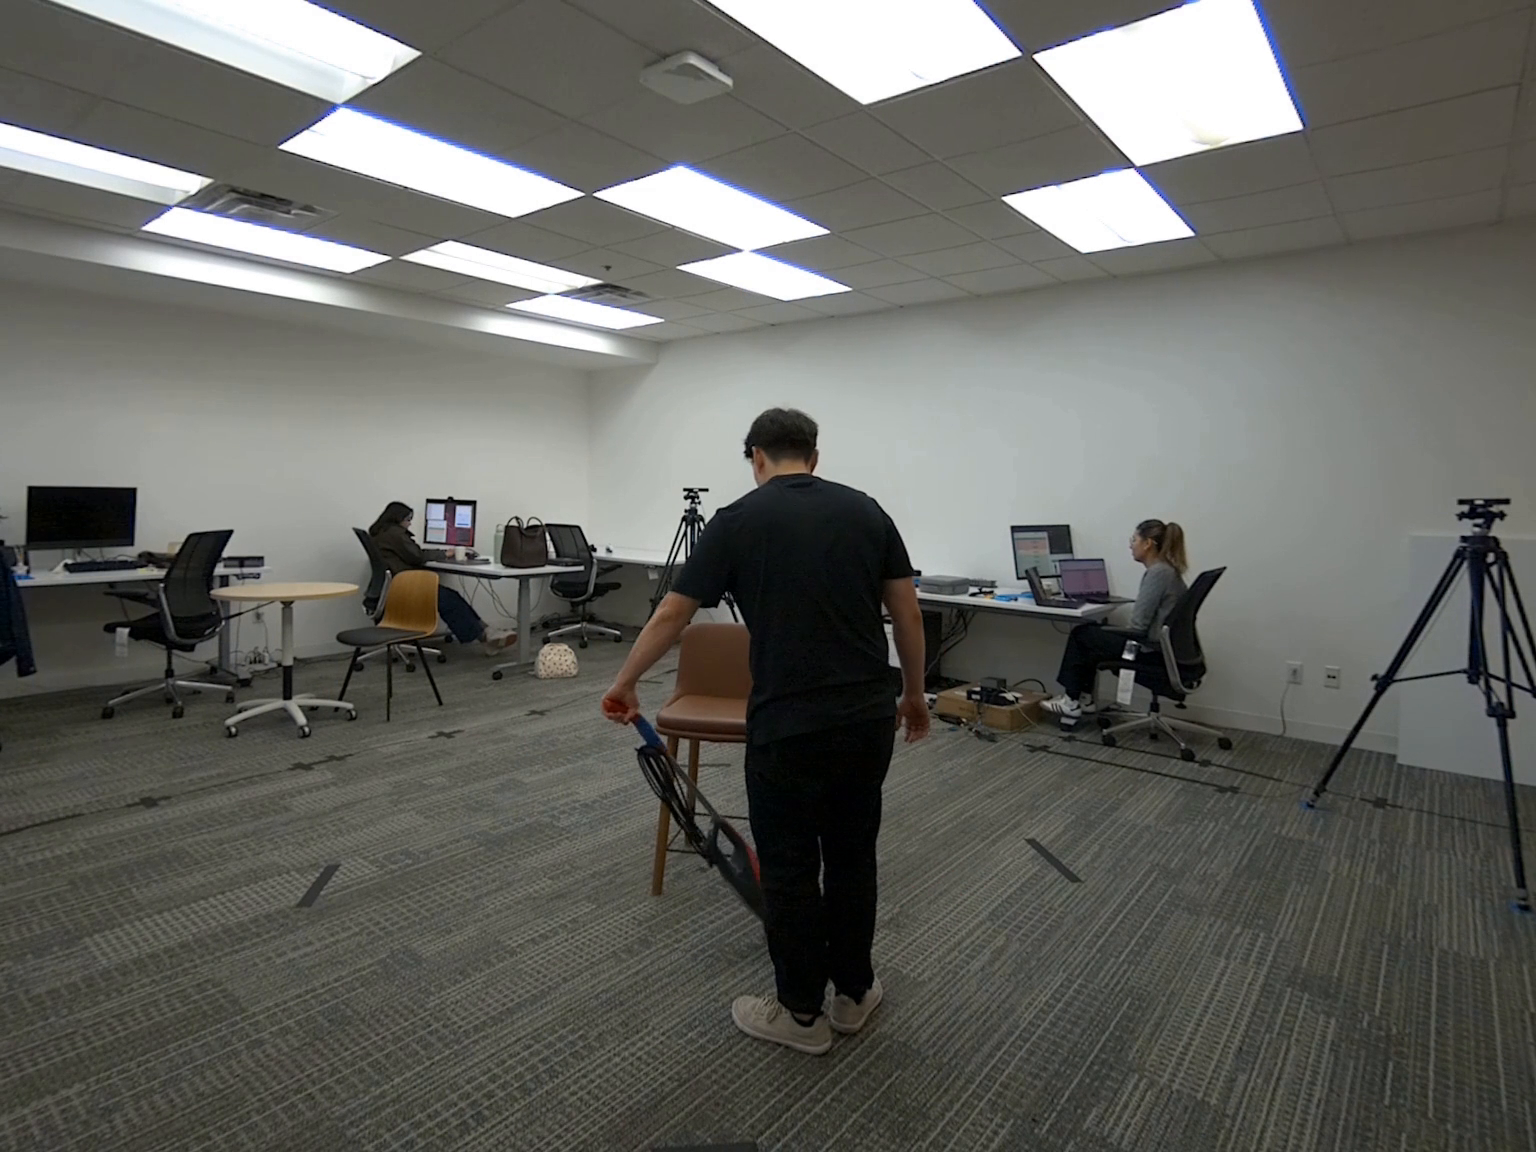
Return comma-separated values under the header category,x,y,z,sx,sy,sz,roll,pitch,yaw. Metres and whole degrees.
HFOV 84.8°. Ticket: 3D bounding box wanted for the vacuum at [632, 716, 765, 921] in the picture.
category,x,y,z,sx,sy,sz,roll,pitch,yaw
vacuum,-0.173,0.716,2.407,0.260,1.015,0.144,-3,40,45
